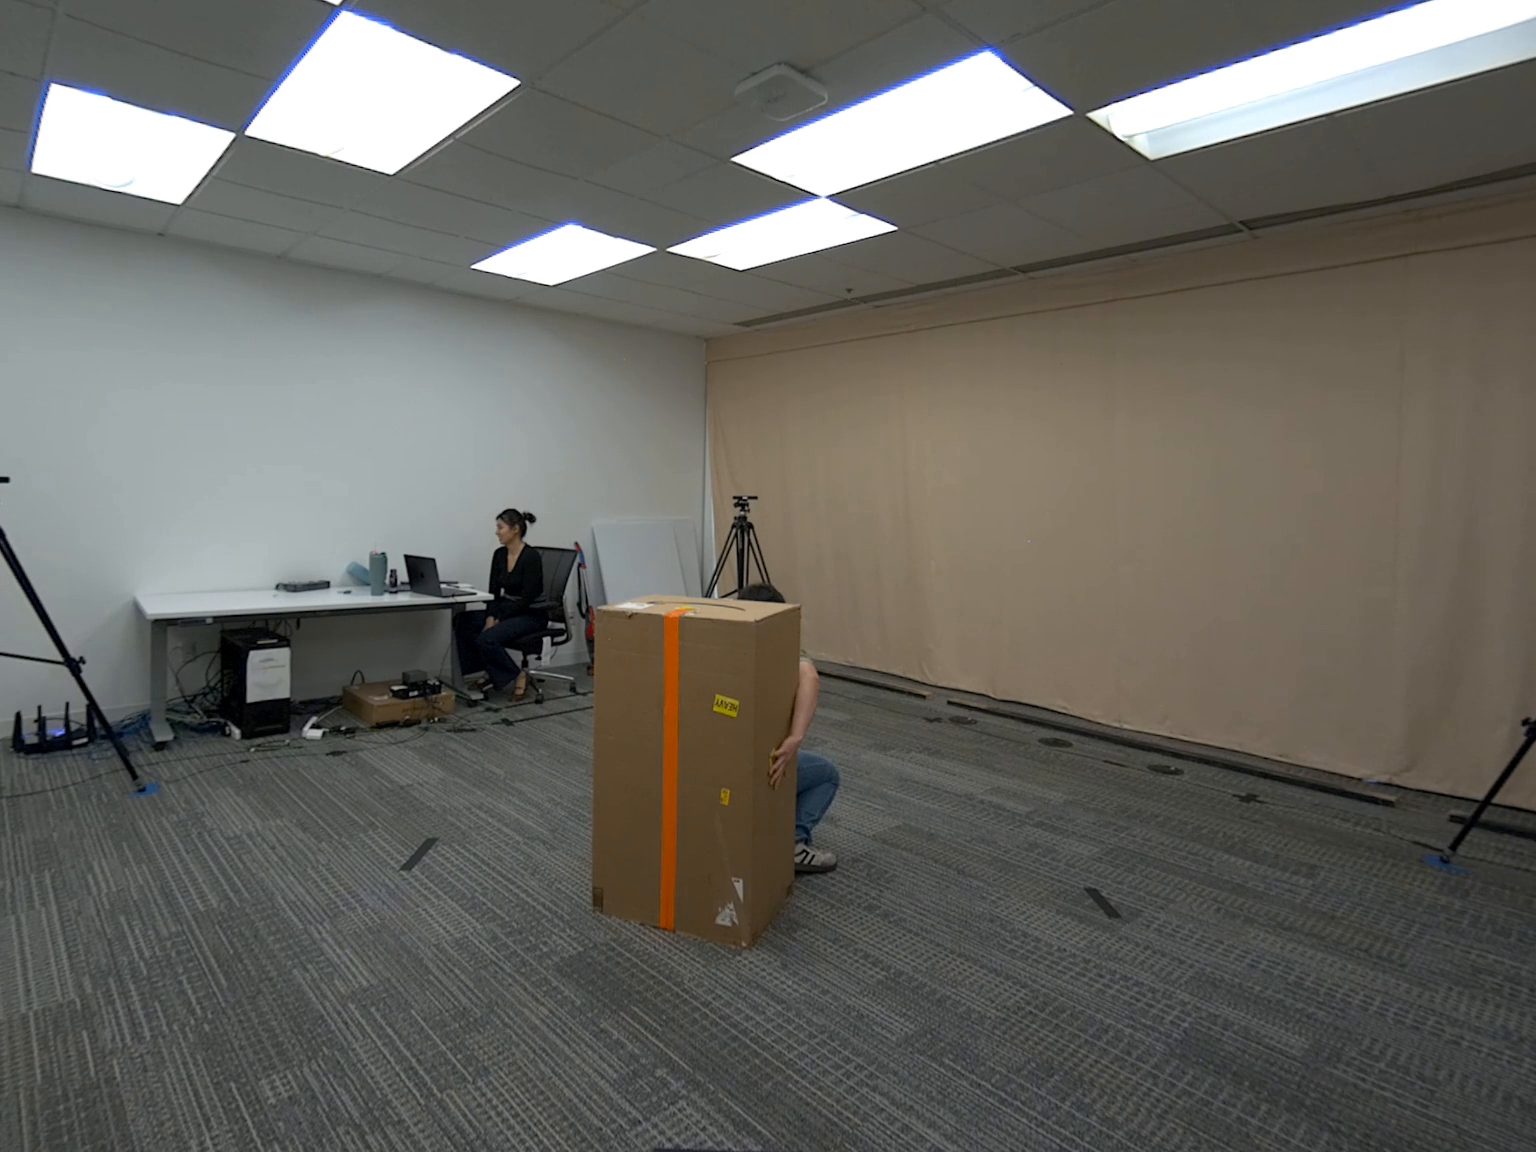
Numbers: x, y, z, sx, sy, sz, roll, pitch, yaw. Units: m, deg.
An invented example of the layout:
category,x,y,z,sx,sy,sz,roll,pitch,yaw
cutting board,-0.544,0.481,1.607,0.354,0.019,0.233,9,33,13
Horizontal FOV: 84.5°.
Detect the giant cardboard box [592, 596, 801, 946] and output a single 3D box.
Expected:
category,x,y,z,sx,sy,sz,roll,pitch,yaw
giant cardboard box,-0.245,0.609,2.854,0.588,1.023,0.419,3,4,23
